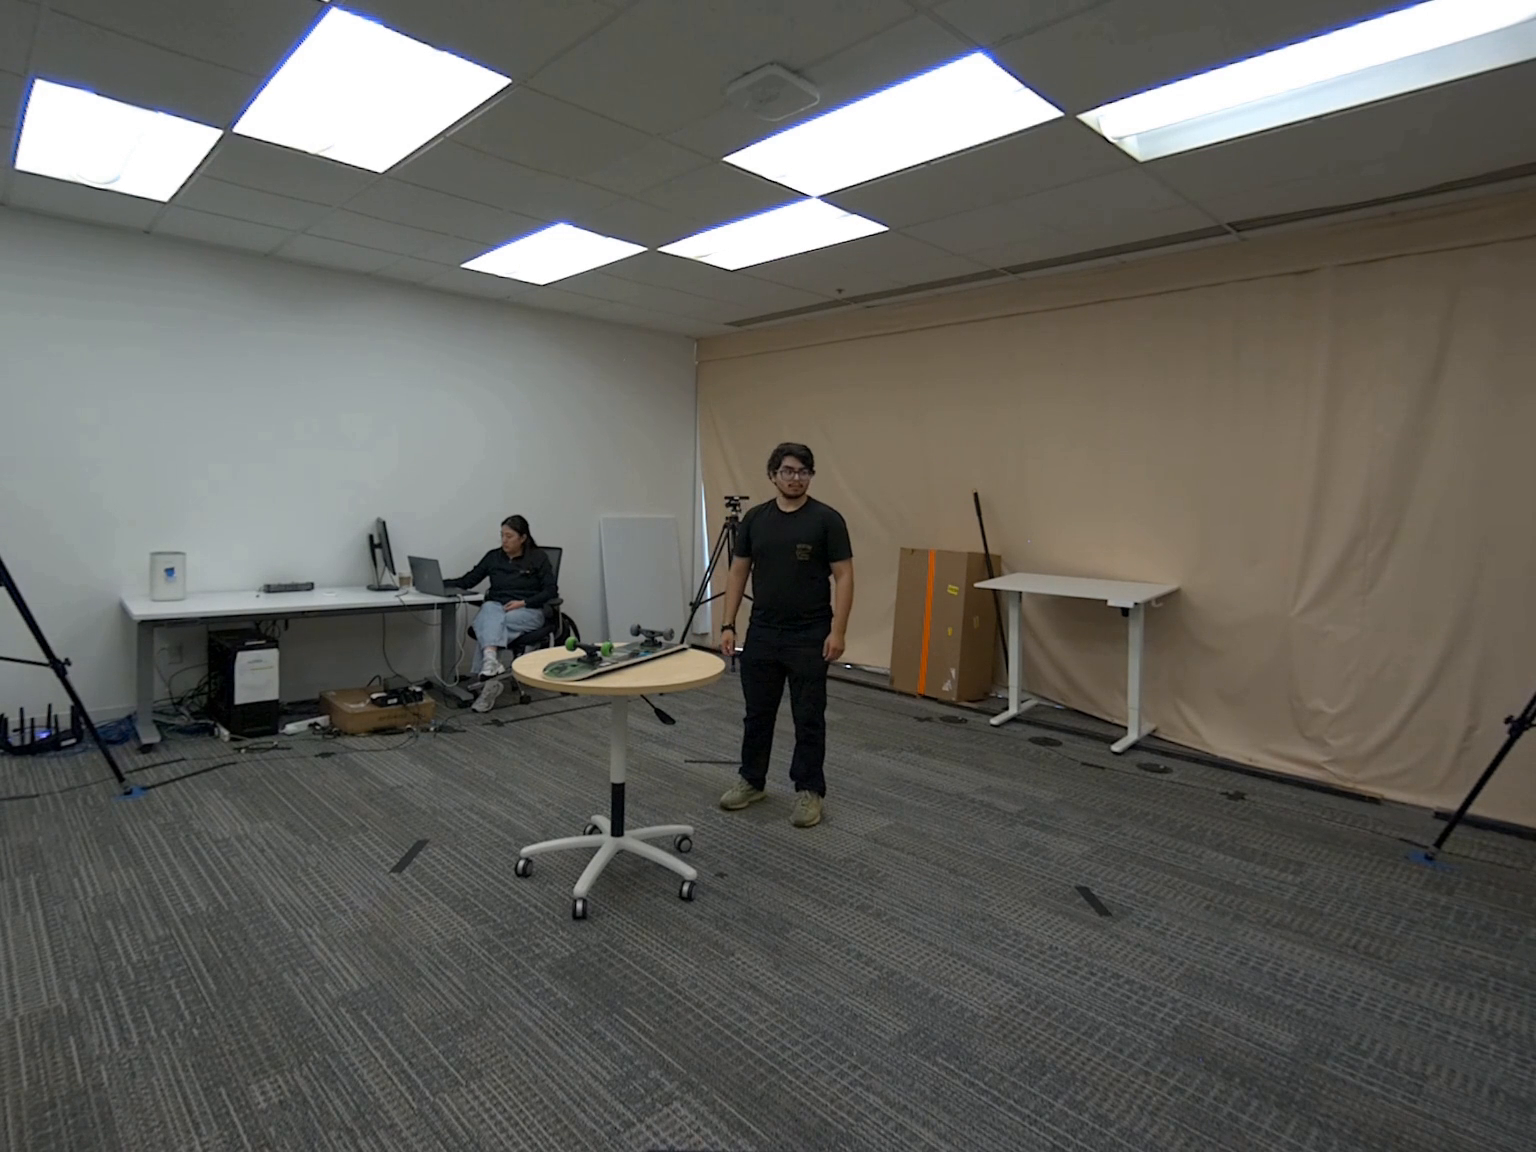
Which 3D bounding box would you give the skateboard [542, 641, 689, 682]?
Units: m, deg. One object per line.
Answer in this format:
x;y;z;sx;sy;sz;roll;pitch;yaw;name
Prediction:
-0.548;0.267;3.090;0.197;0.110;0.771;4;5;26;skateboard
